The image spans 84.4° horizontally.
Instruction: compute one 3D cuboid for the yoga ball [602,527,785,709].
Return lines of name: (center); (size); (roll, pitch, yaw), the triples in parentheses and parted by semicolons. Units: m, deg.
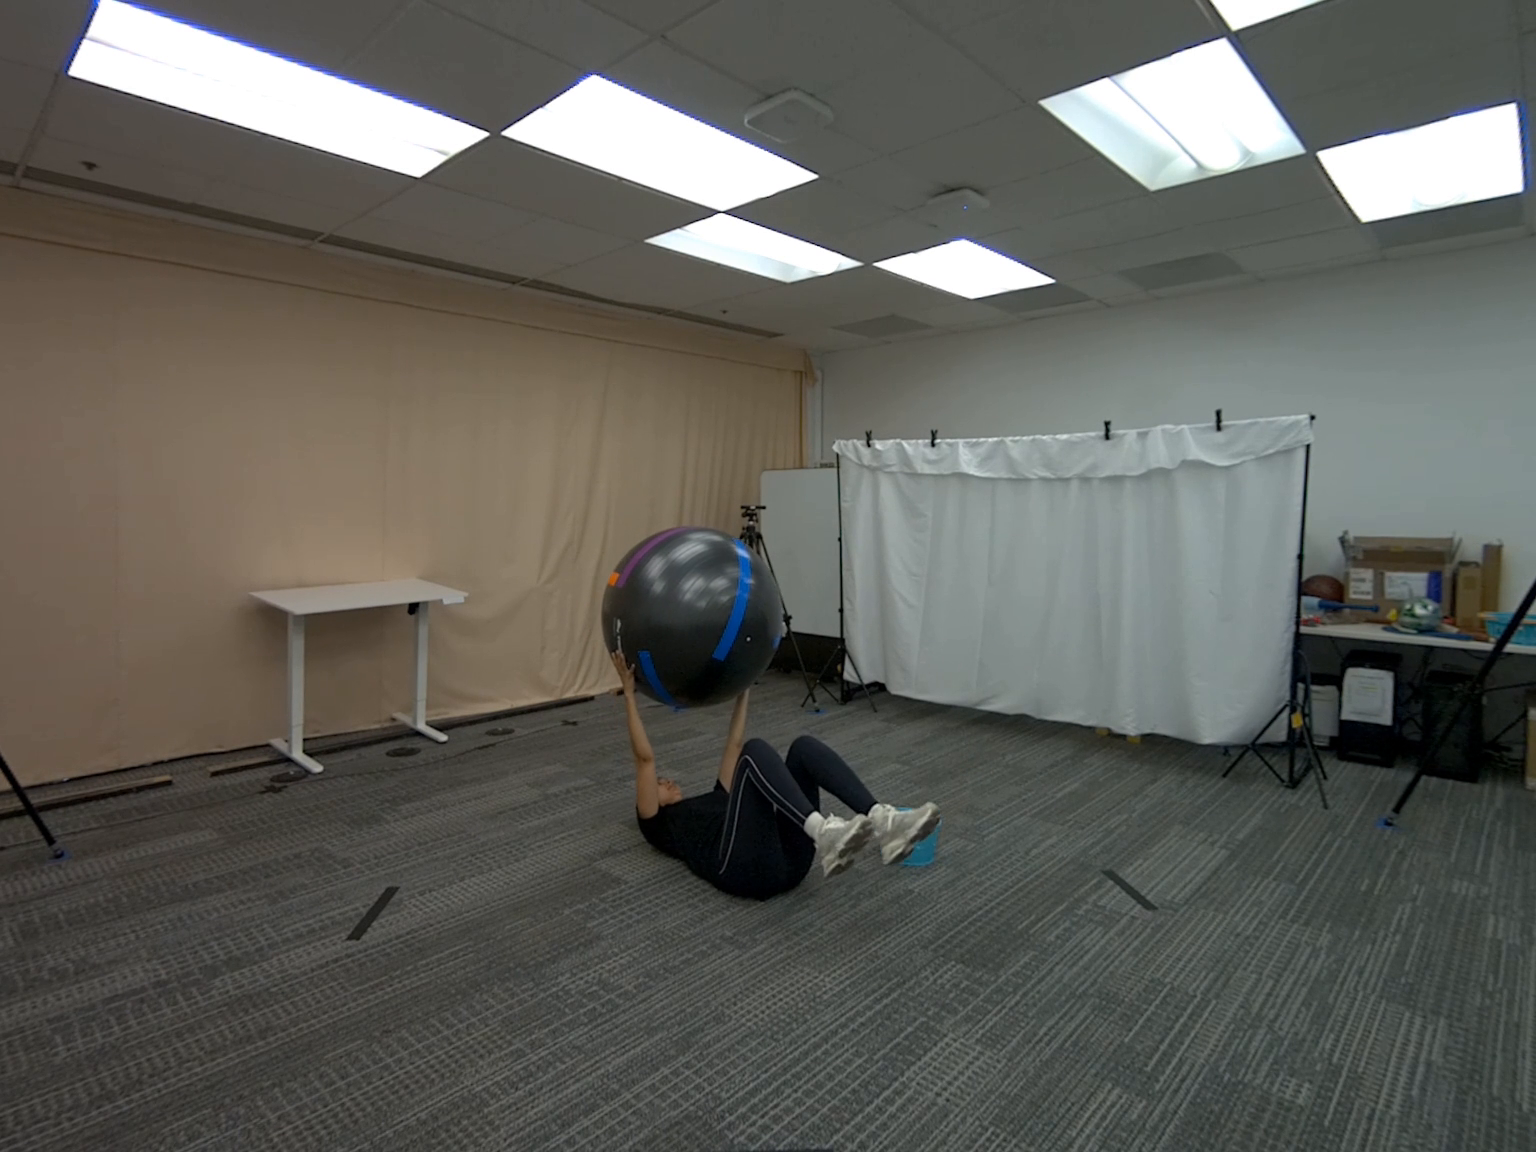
yoga ball: (-0.313, 0.172, 3.528); (0.757, 0.756, 0.761); (3, 5, -2)
